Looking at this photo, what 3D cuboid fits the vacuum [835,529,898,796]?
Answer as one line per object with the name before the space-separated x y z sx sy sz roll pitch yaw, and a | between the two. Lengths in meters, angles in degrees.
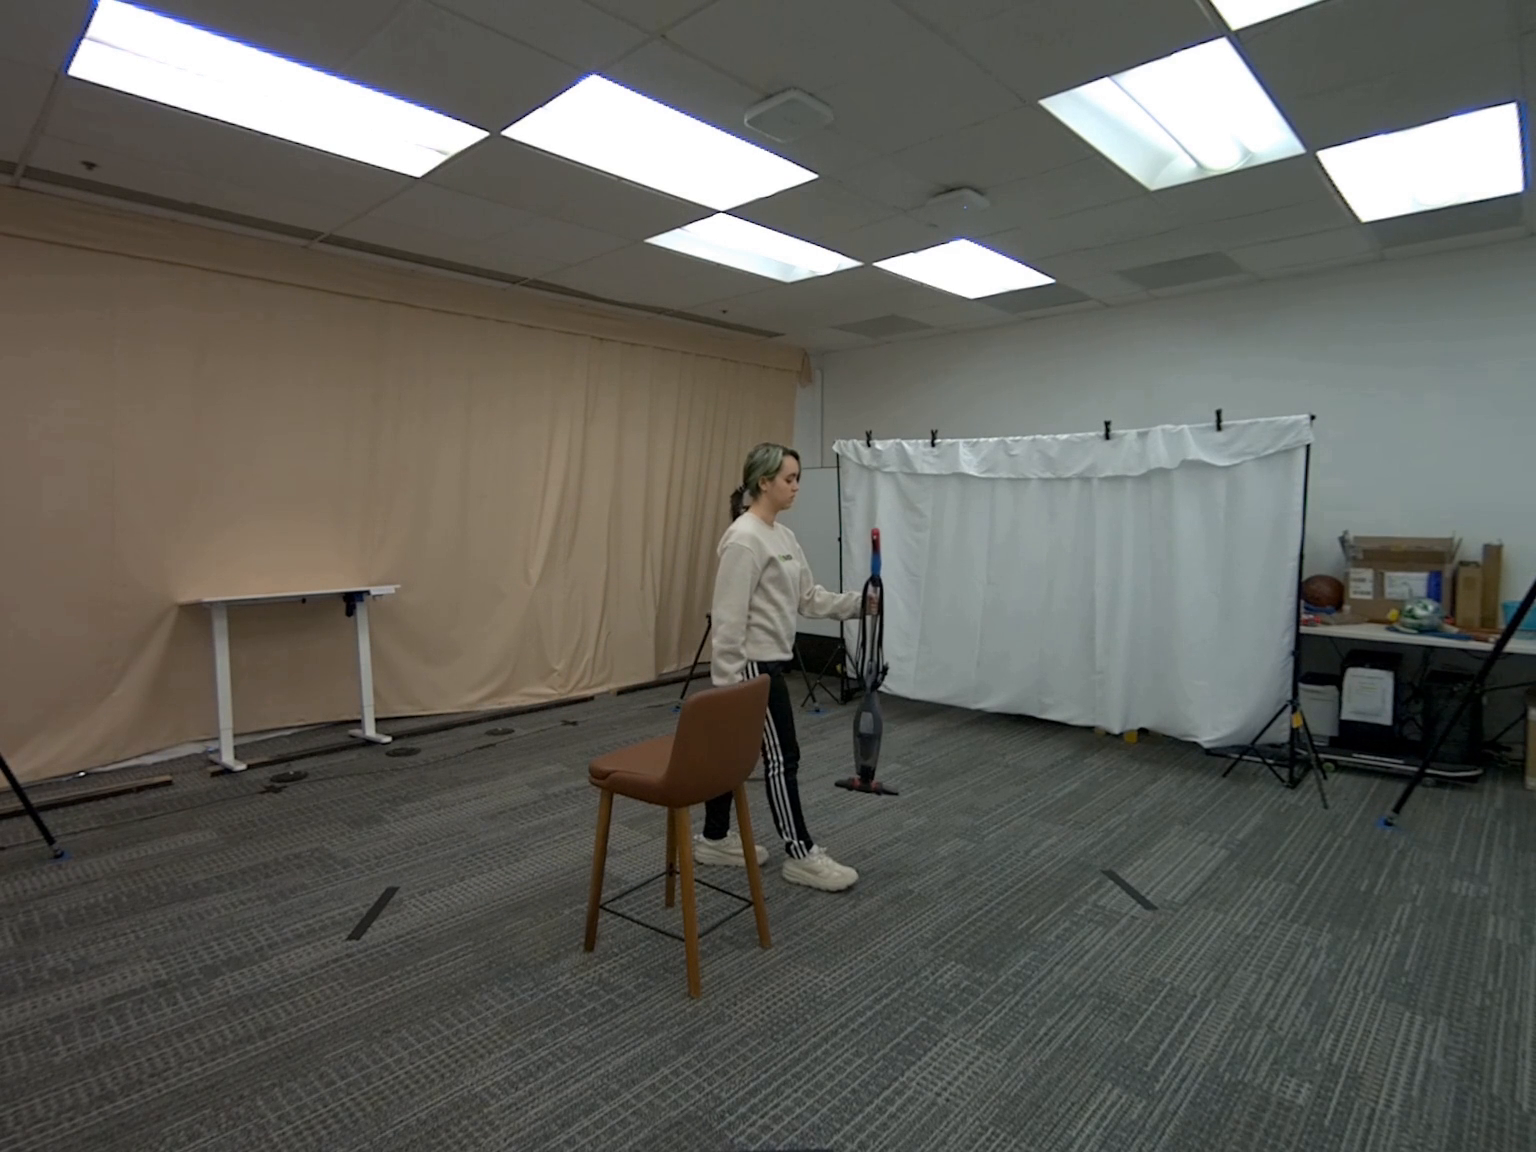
vacuum | 0.399 0.341 3.162 0.258 1.039 0.142 5 16 19
